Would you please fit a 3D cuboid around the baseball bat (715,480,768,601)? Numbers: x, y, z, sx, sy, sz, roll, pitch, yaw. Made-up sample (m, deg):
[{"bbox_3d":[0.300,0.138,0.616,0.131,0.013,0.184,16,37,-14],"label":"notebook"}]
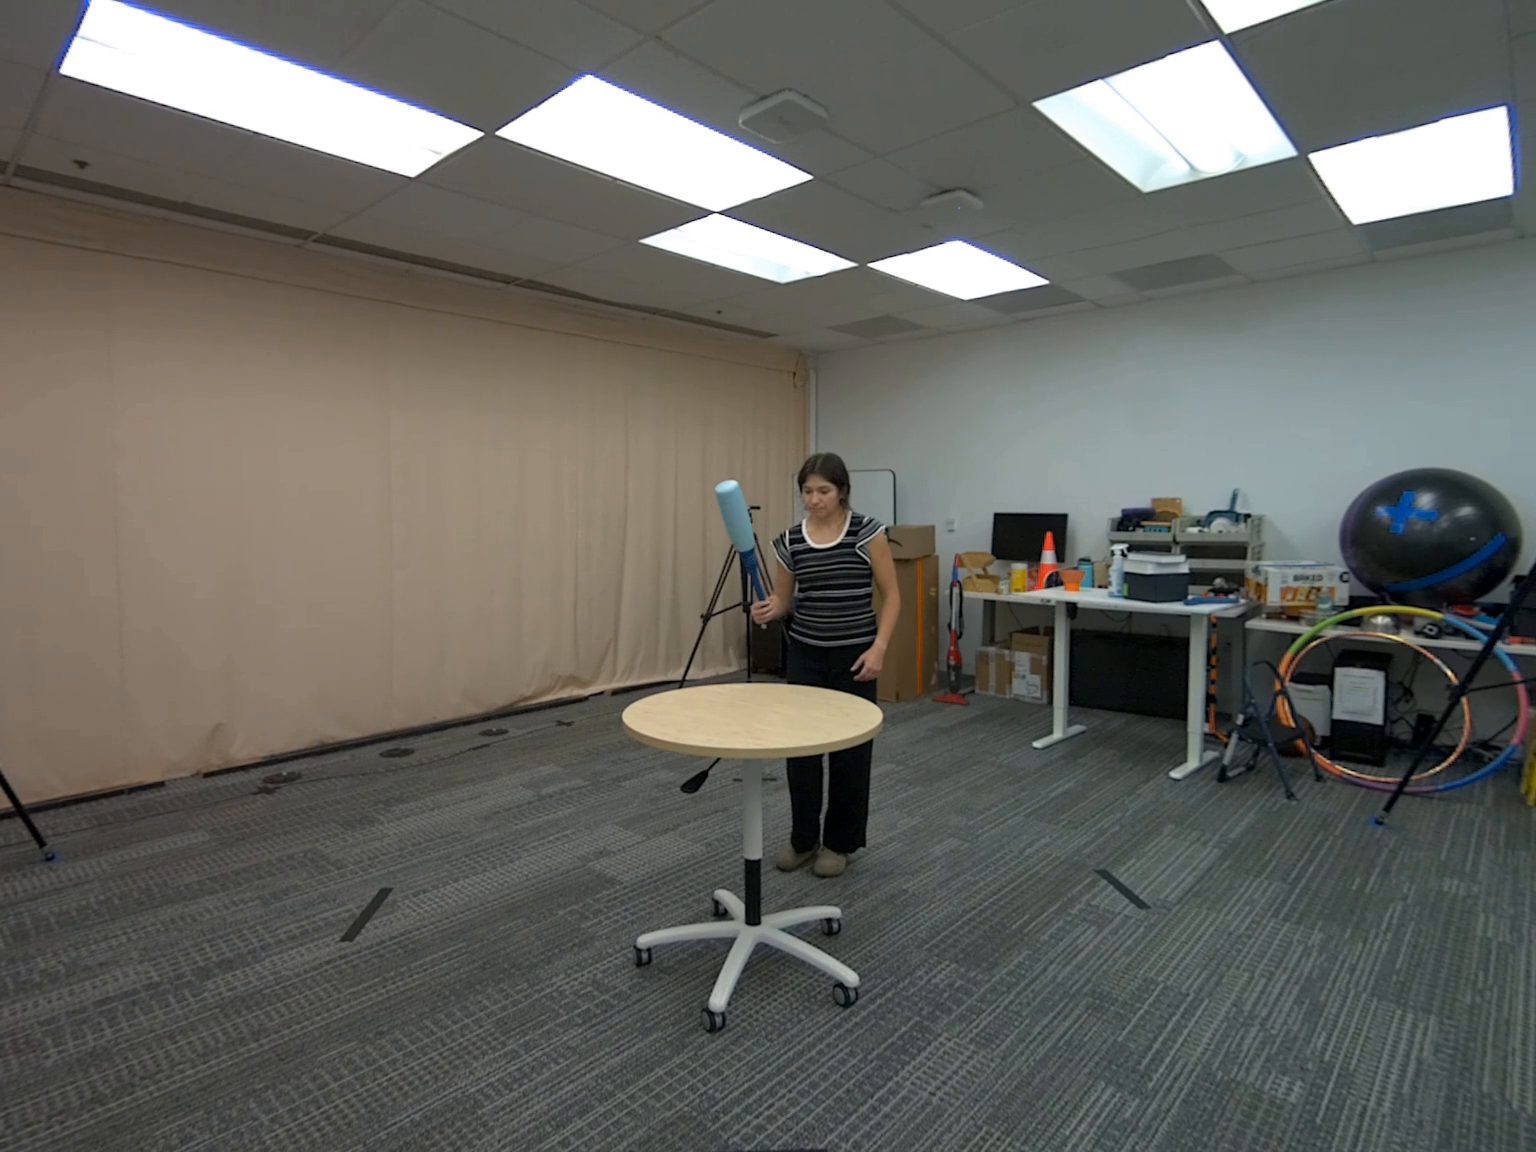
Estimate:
[{"bbox_3d":[-0.070,-0.072,2.934,0.090,0.530,0.090,-14,30,7],"label":"baseball bat"}]
